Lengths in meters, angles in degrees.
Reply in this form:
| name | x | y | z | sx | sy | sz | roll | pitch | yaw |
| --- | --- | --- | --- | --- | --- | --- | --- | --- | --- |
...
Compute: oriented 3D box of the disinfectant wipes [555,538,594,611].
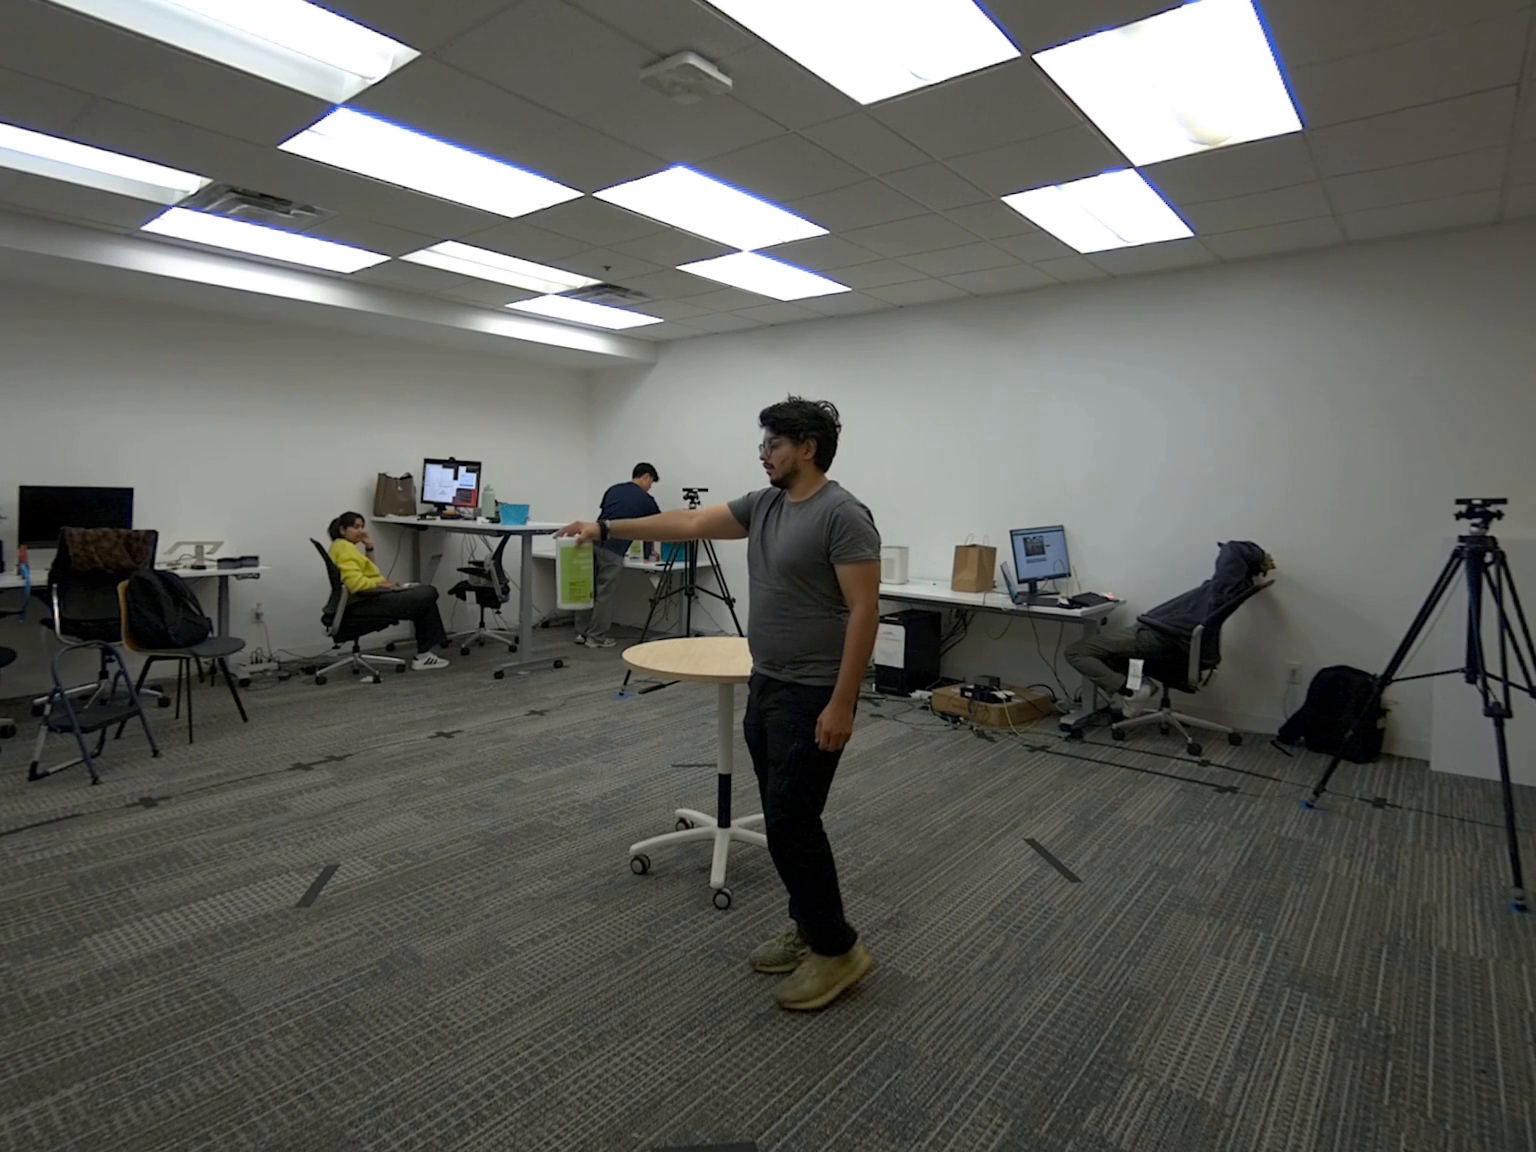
| name | x | y | z | sx | sy | sz | roll | pitch | yaw |
| --- | --- | --- | --- | --- | --- | --- | --- | --- | --- |
| disinfectant wipes | -0.590 | -0.009 | 2.549 | 0.118 | 0.217 | 0.118 | 0 | 4 | -2 |
